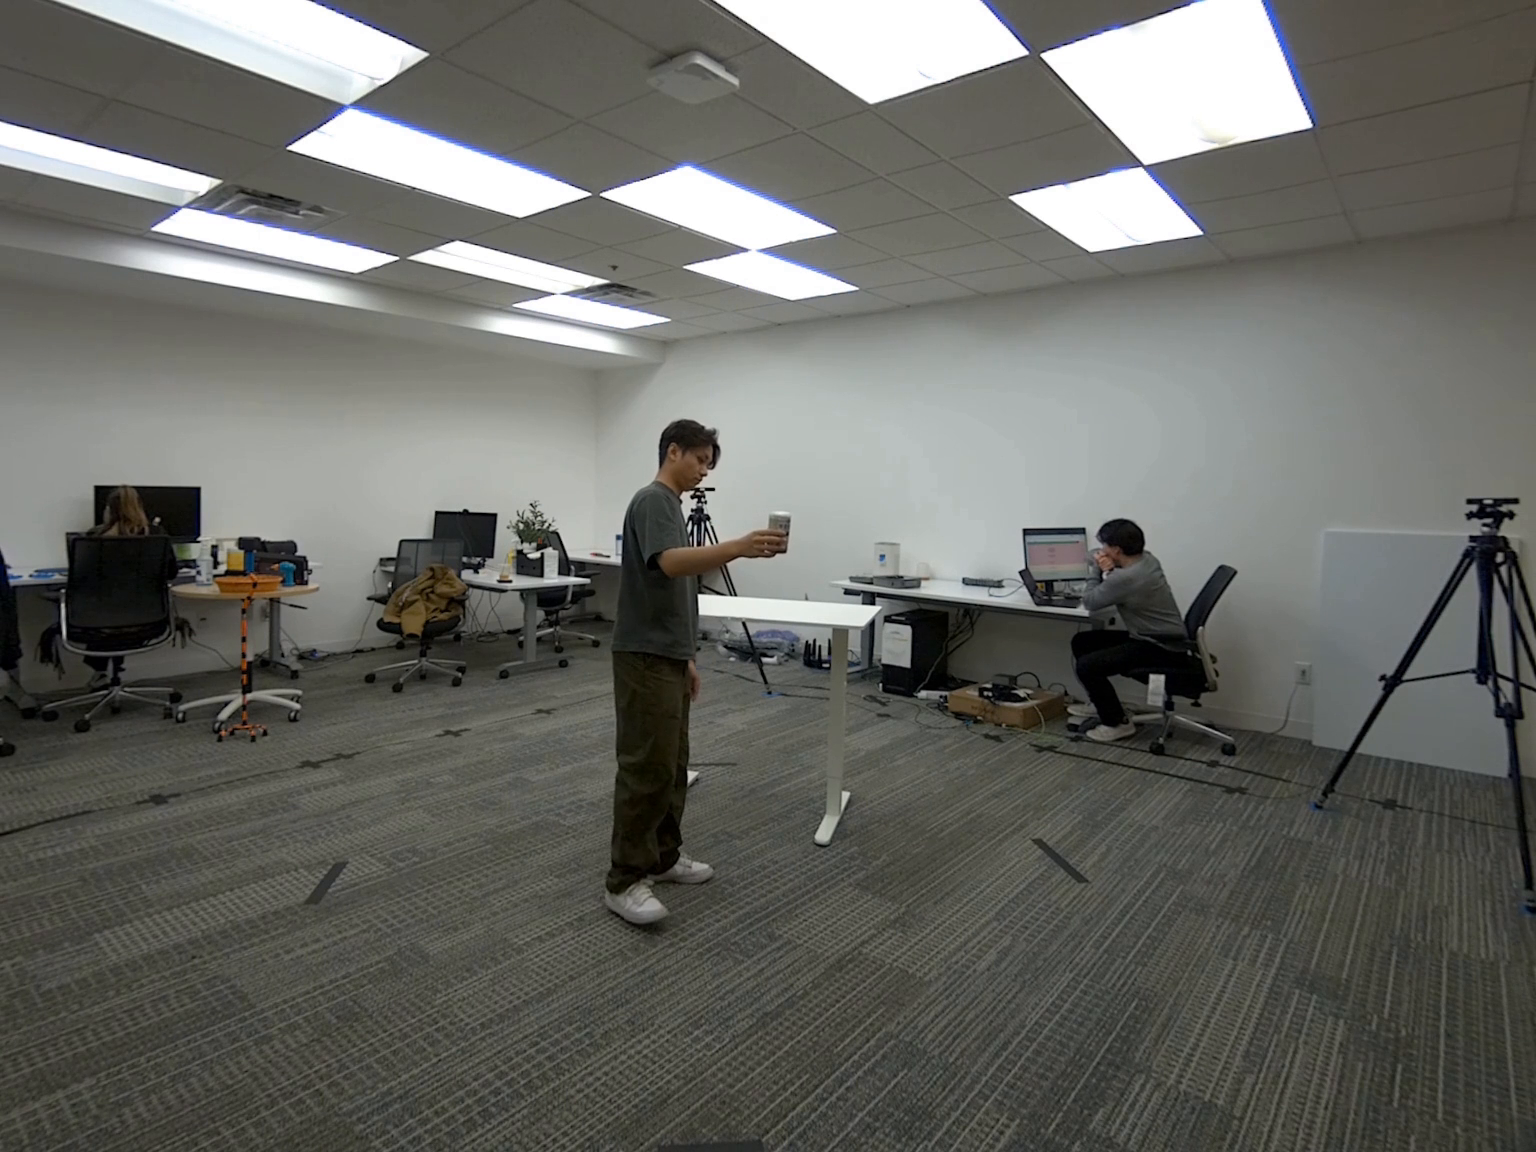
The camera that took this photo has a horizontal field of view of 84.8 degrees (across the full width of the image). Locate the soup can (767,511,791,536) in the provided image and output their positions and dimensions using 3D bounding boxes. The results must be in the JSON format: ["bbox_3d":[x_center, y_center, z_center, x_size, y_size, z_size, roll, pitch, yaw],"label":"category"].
[{"bbox_3d":[0.020,-0.133,2.561,0.067,0.120,0.068,1,9,-2],"label":"soup can"}]
